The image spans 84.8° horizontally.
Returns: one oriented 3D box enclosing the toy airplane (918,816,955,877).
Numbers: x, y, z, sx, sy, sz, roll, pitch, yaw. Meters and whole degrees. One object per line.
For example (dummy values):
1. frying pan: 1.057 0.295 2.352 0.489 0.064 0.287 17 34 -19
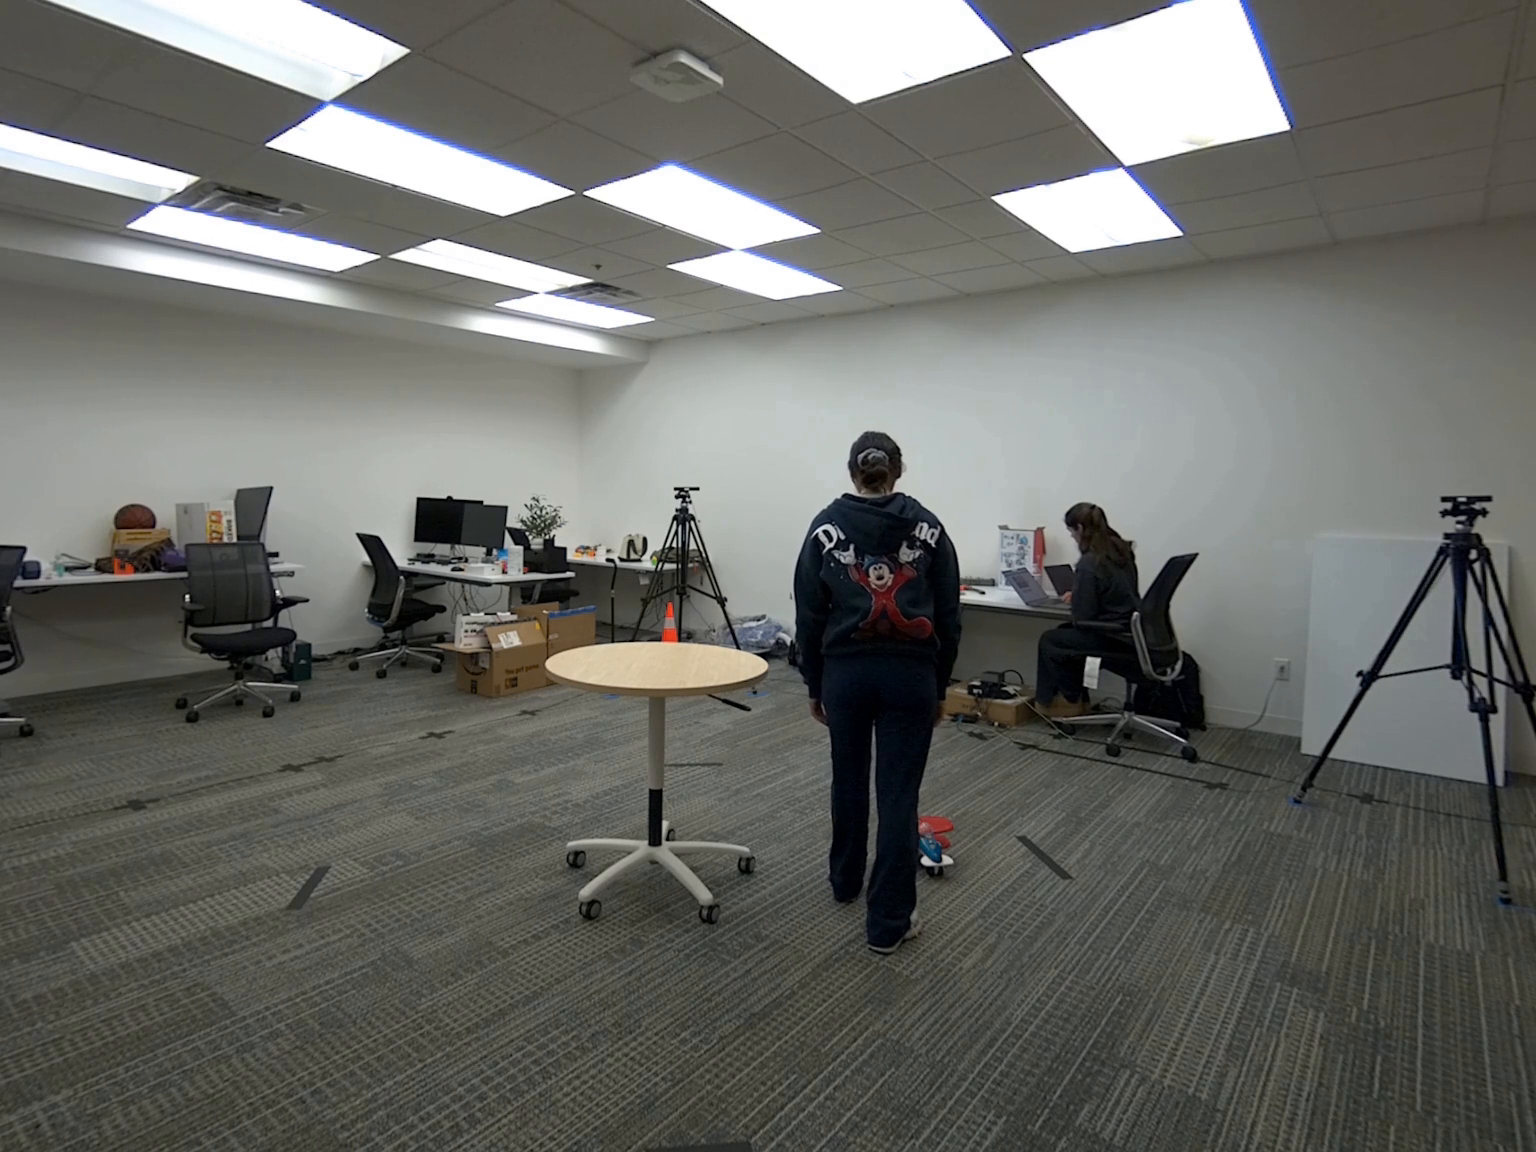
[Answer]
1. toy airplane: 0.596 1.002 3.190 0.244 0.156 0.268 -5 8 -43
